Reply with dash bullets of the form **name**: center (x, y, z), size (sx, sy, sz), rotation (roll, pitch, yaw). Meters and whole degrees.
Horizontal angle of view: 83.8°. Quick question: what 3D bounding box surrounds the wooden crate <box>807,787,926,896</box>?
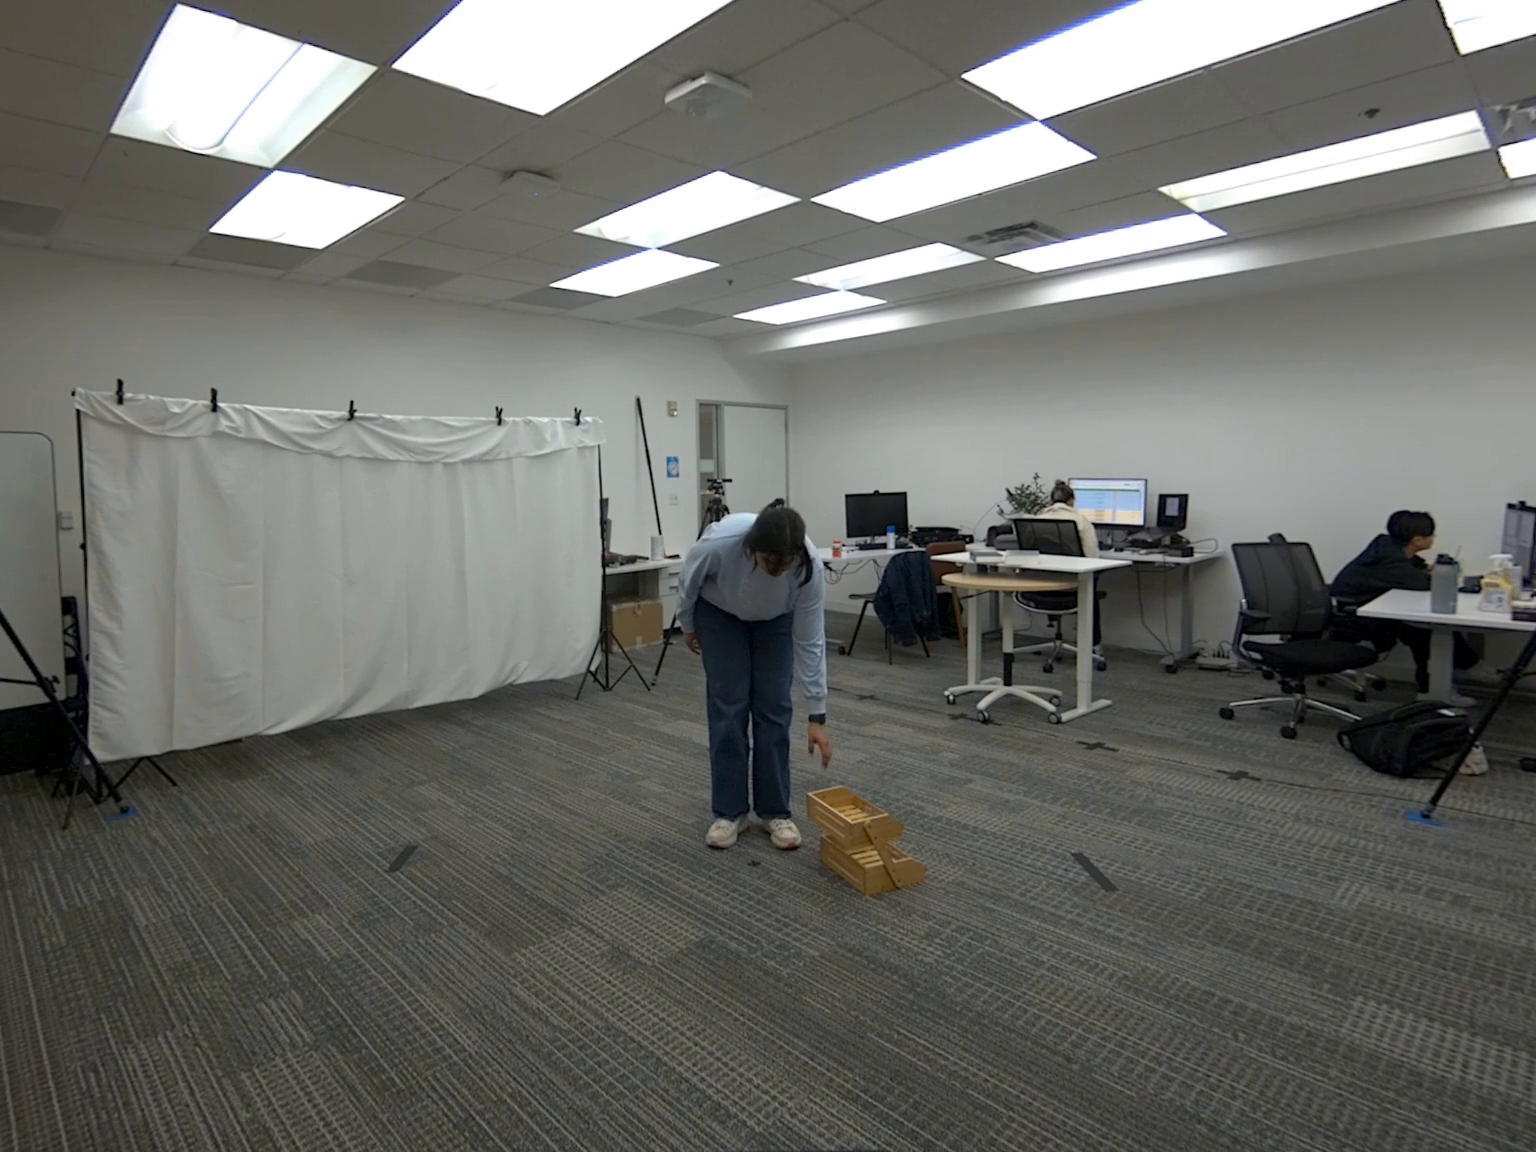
- **wooden crate**: center (0.353, 0.914, 3.020), size (0.296, 0.272, 0.332), rotation (-4, 6, -25)
